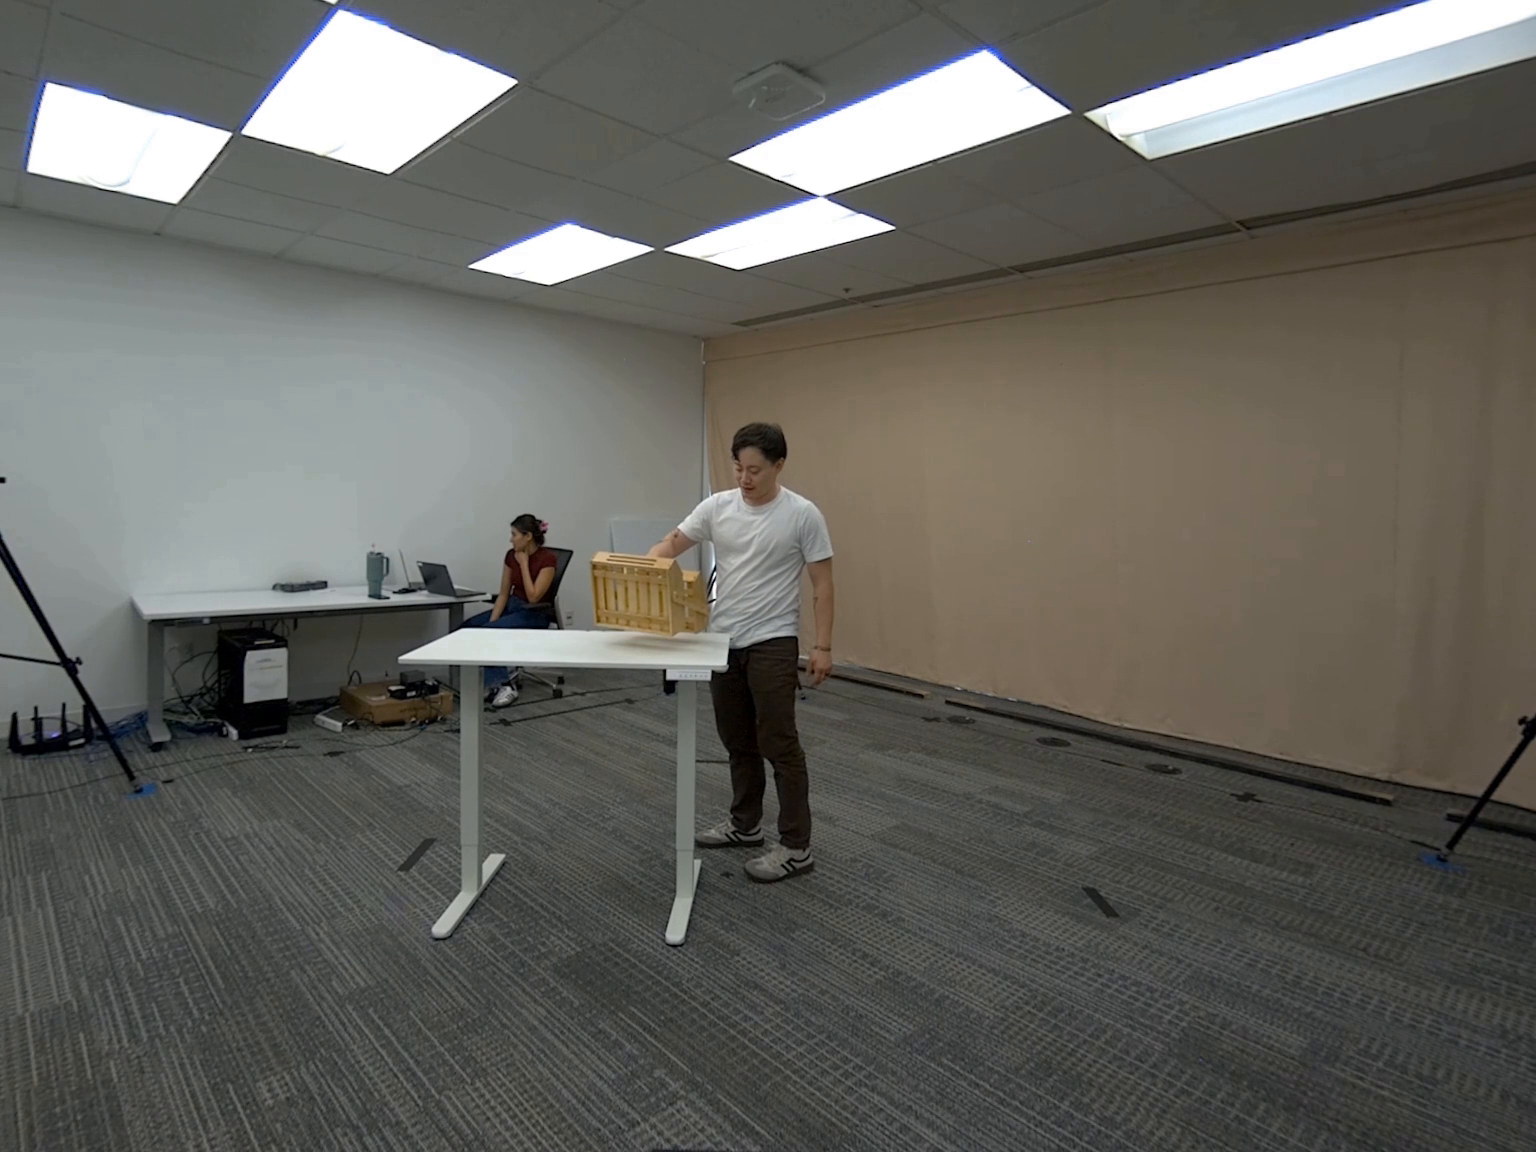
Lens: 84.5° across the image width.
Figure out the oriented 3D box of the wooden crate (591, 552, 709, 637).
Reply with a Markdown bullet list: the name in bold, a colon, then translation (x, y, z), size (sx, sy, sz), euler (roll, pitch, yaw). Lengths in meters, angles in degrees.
- **wooden crate**: translation (-0.405, 0.051, 2.865), size (0.330, 0.298, 0.271), euler (6, 17, 23)
